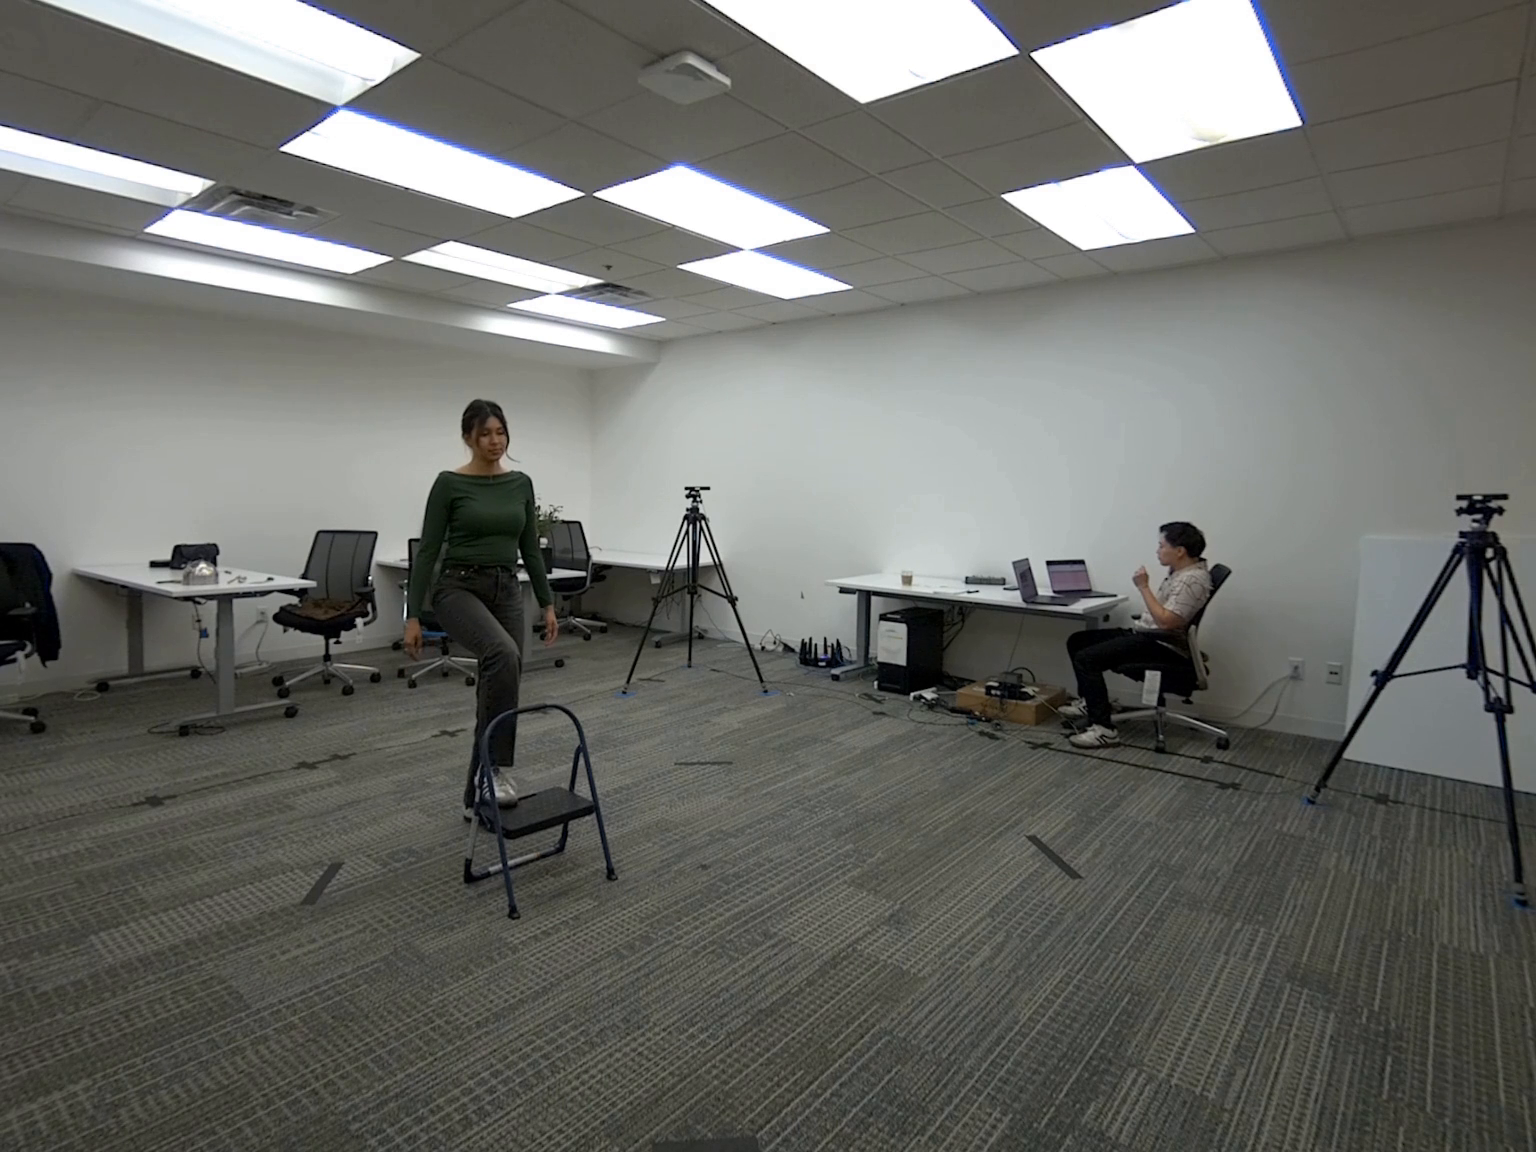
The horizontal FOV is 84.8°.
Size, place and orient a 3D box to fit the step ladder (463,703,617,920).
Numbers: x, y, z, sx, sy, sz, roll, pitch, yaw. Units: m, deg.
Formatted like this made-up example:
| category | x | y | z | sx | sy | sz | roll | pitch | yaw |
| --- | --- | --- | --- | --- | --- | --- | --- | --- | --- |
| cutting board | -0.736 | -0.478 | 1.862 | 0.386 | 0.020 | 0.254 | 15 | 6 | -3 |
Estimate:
| category | x | y | z | sx | sy | sz | roll | pitch | yaw |
| --- | --- | --- | --- | --- | --- | --- | --- | --- | --- |
| step ladder | -0.807 | 0.767 | 2.975 | 0.361 | 0.604 | 0.417 | 3 | 4 | 43 |
